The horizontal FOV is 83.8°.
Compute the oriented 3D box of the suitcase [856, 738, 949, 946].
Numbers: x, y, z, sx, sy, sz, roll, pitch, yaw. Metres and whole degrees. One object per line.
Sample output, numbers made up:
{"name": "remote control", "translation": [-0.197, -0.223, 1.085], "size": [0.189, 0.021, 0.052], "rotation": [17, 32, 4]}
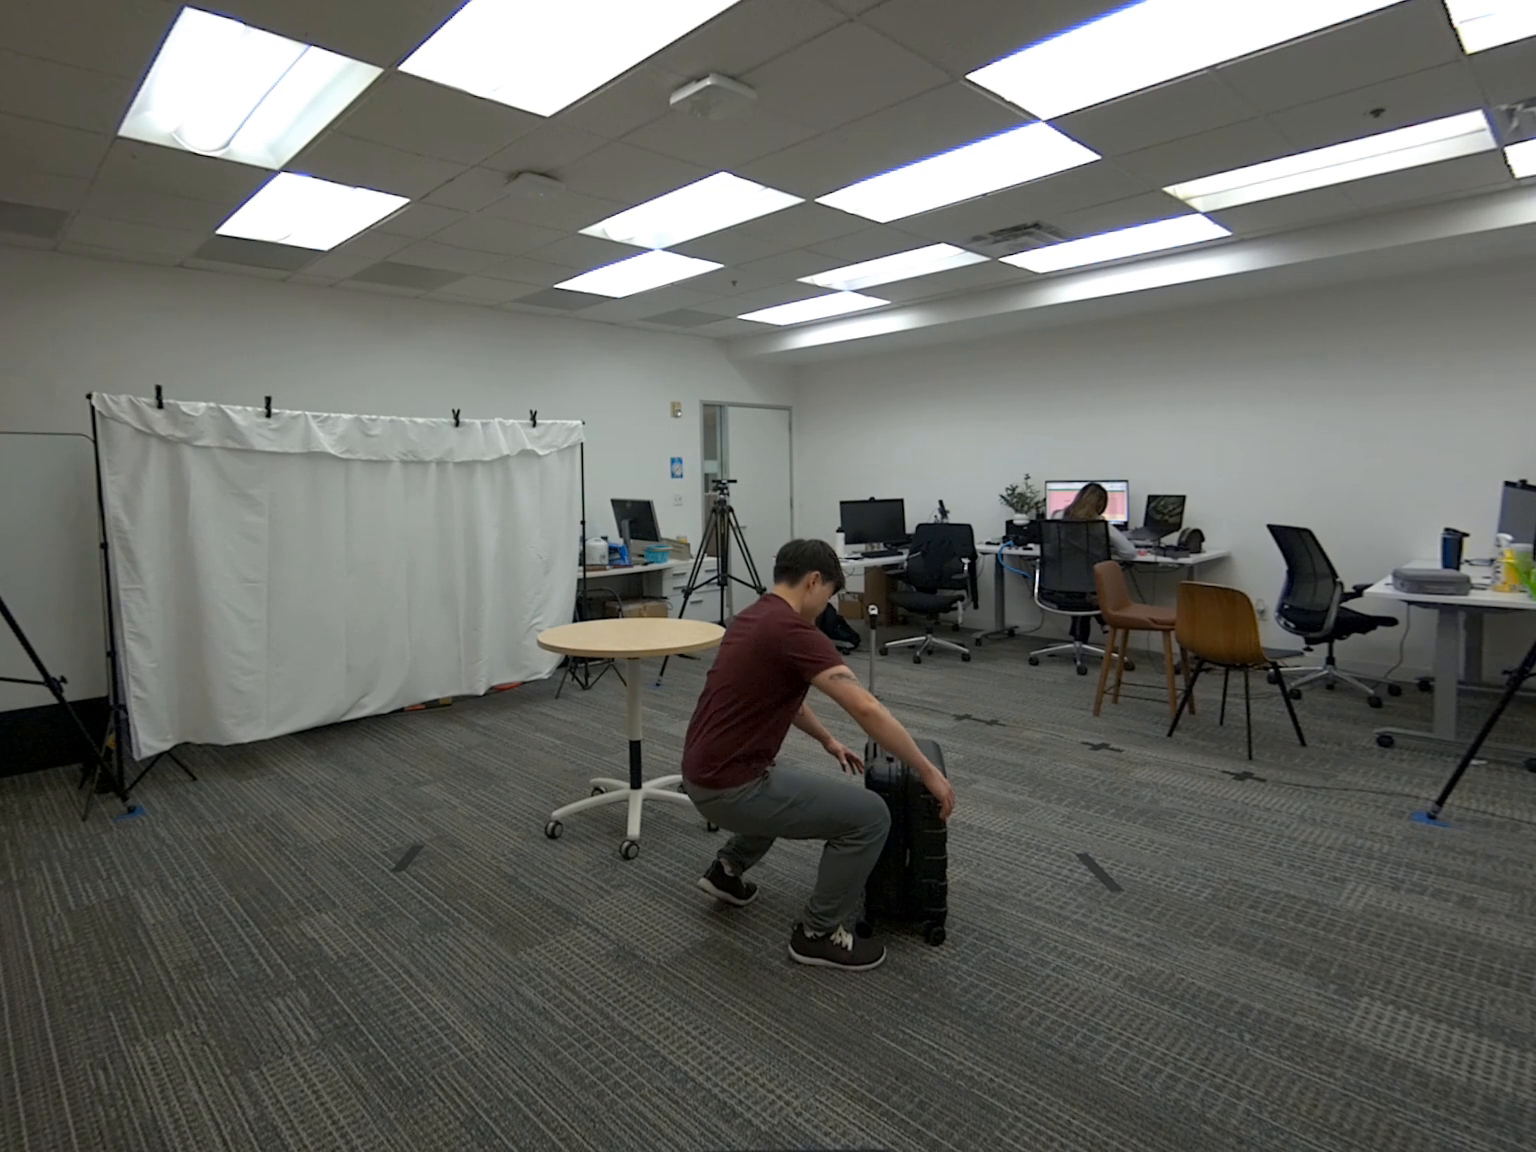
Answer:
{"name": "suitcase", "translation": [0.437, 0.605, 2.699], "size": [0.260, 0.974, 0.381], "rotation": [2, 5, 9]}
